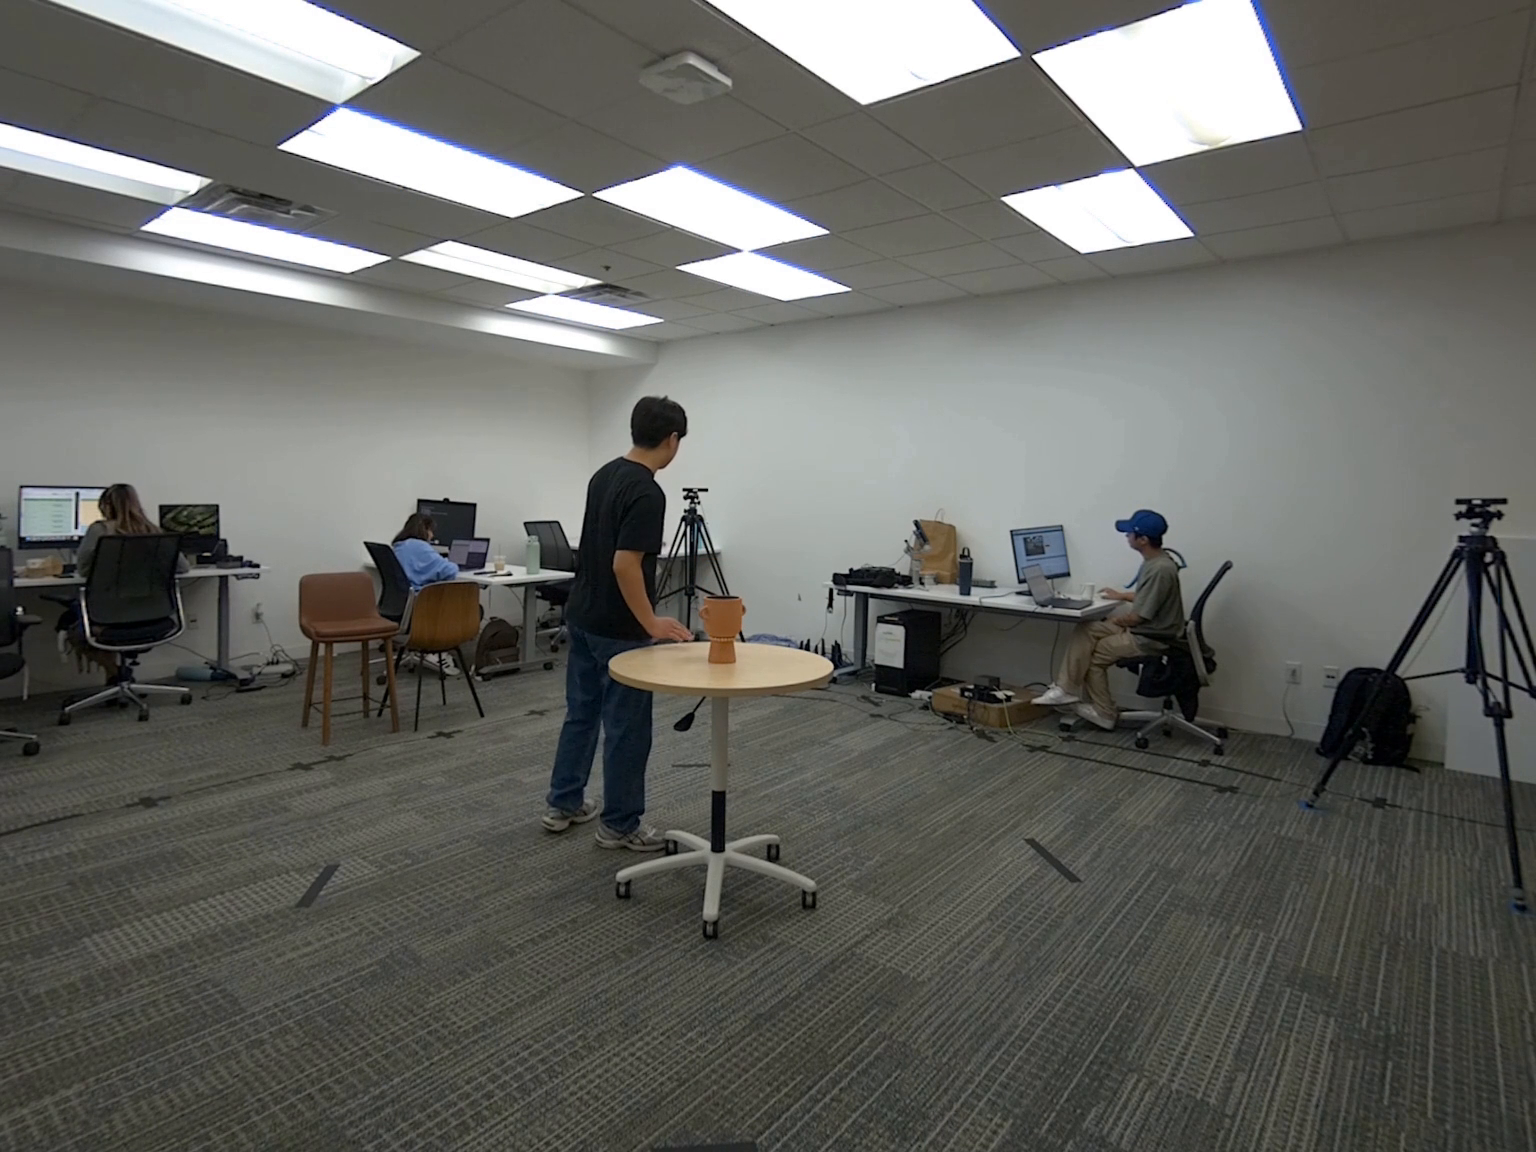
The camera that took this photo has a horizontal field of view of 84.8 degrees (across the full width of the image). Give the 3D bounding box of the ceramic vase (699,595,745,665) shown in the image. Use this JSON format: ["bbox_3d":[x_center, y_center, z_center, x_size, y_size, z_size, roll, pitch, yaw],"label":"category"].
[{"bbox_3d":[-0.167,0.185,2.927,0.159,0.219,0.135,1,3,2],"label":"ceramic vase"}]
